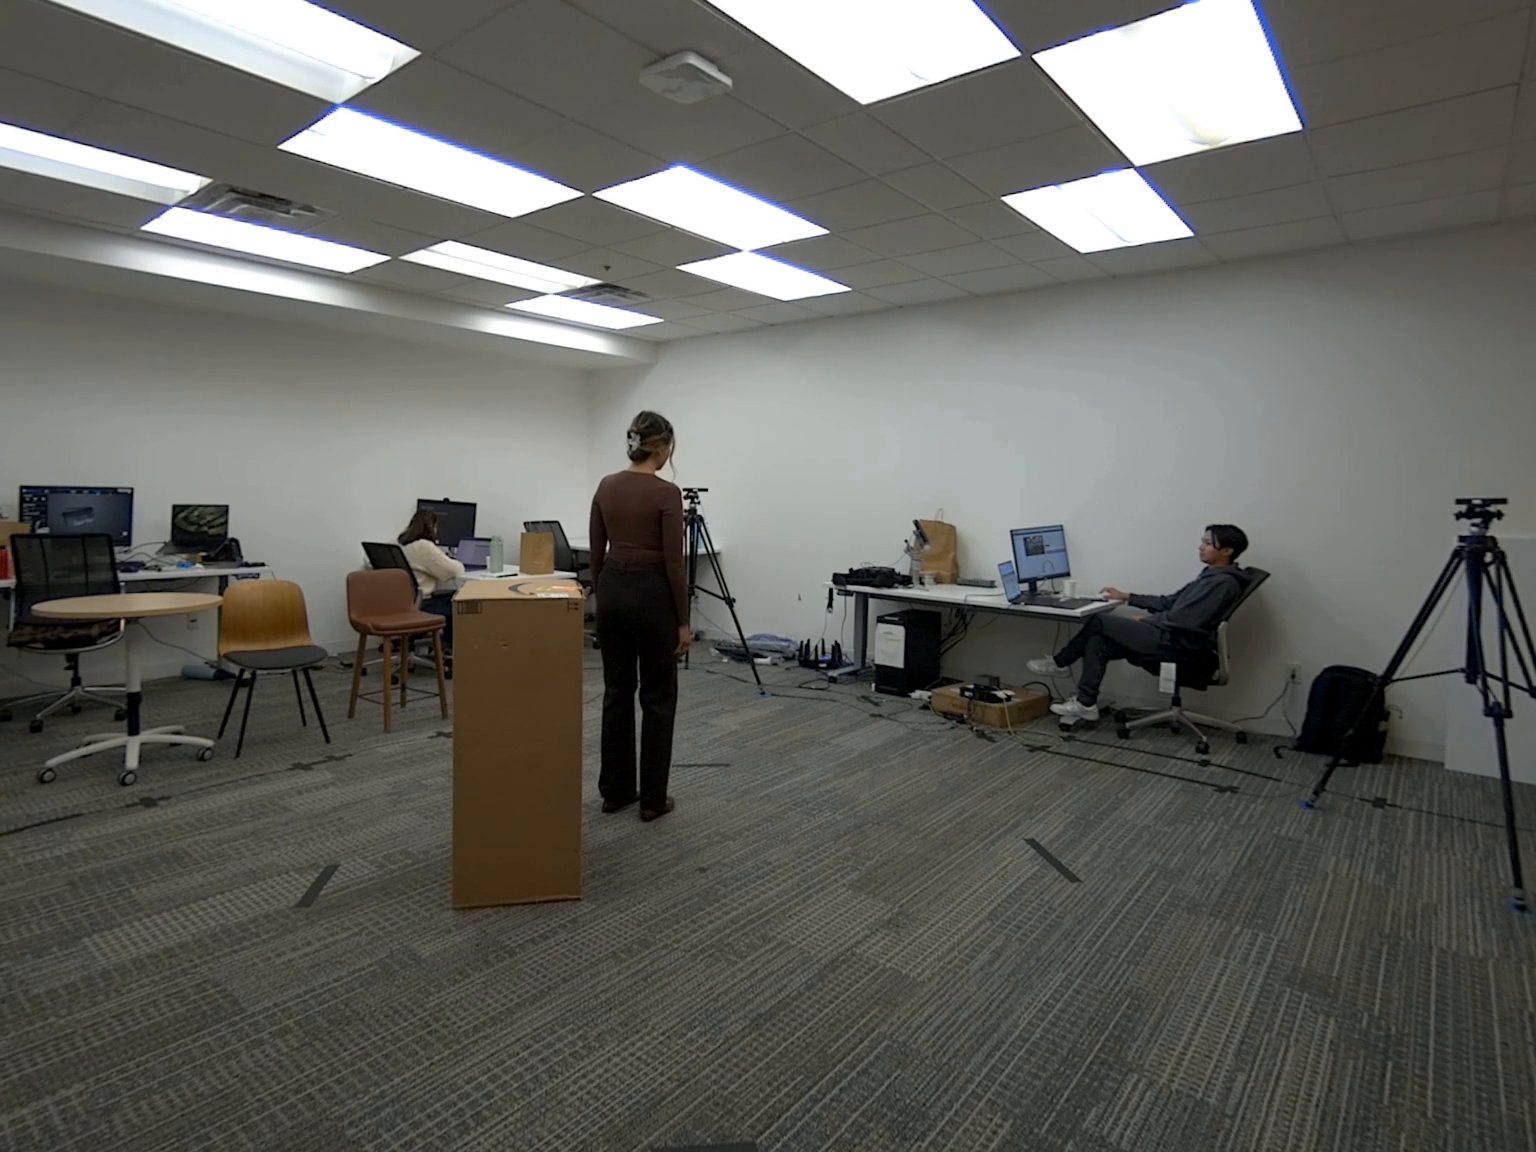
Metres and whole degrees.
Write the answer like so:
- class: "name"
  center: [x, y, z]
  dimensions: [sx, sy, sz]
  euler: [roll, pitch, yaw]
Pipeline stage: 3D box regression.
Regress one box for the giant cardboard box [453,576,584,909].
- class: "giant cardboard box"
  center: [-0.912, 0.553, 3.076]
  dimensions: [0.440, 1.024, 0.595]
  euler: [0, 4, -16]
